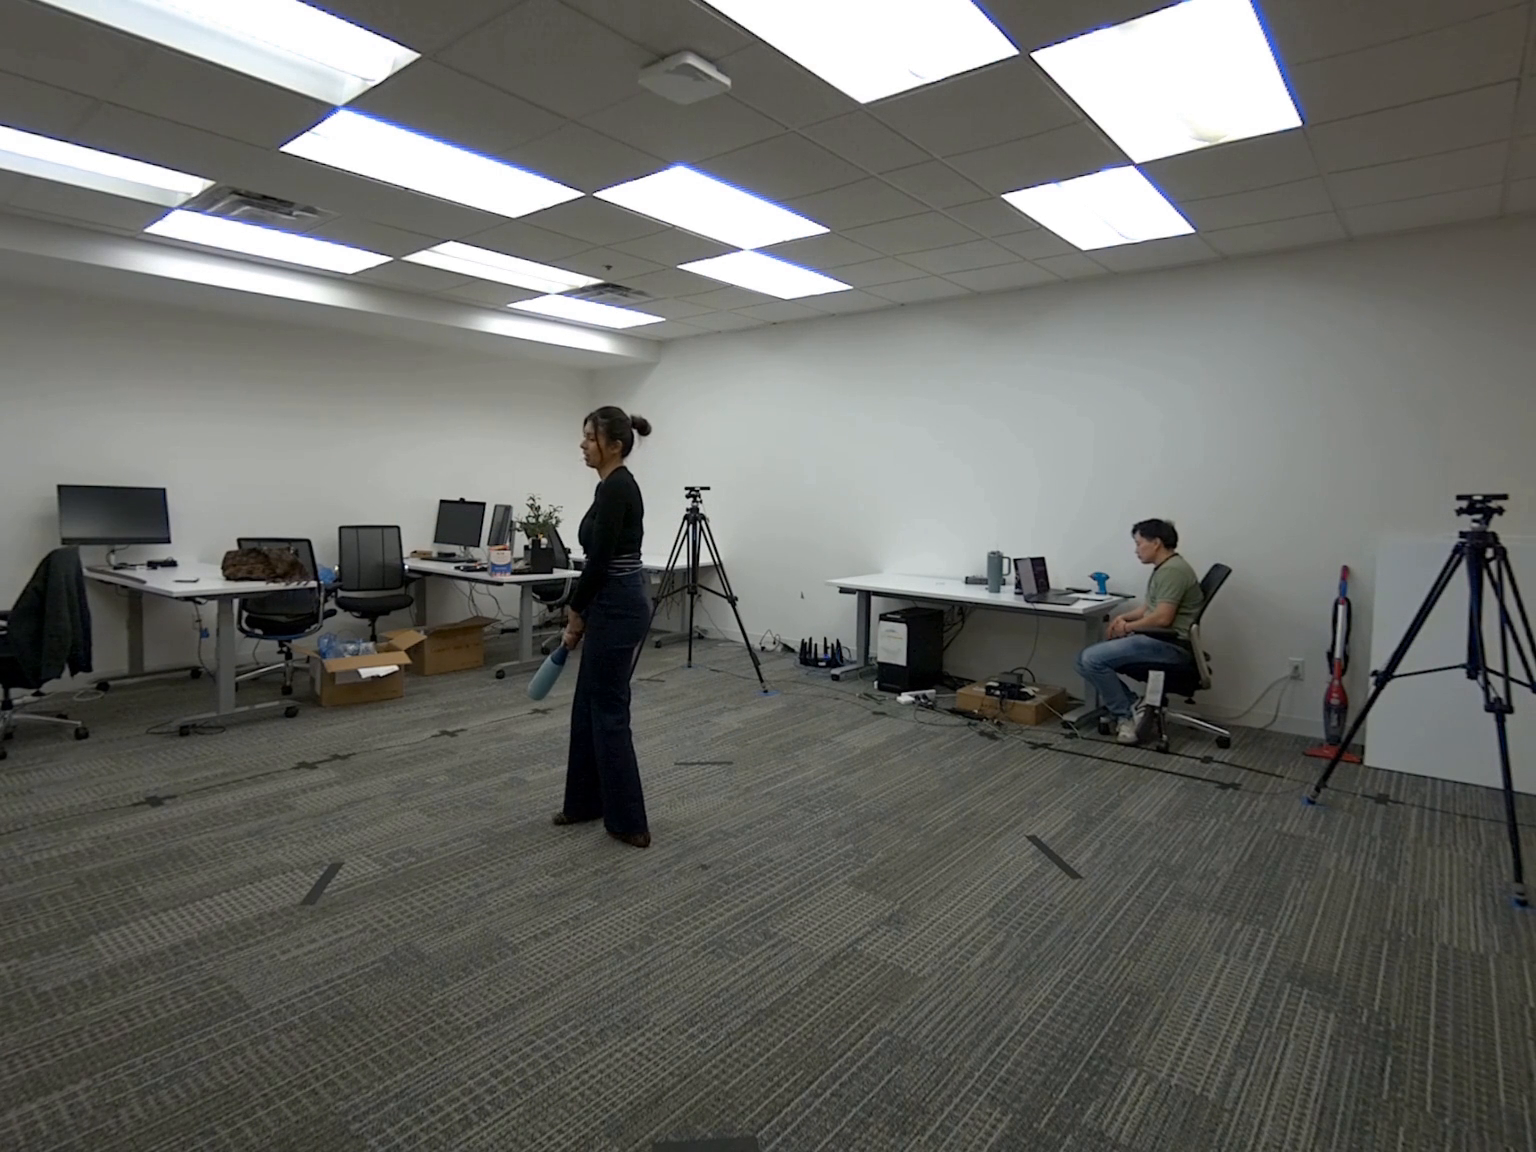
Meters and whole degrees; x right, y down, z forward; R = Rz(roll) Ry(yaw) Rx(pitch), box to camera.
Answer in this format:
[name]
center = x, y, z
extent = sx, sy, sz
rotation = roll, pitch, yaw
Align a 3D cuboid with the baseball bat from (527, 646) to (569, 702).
[baseball bat]
center = -0.887, 0.322, 3.508
extent = 0.086, 0.092, 0.541
rotation = -2, -38, -42
